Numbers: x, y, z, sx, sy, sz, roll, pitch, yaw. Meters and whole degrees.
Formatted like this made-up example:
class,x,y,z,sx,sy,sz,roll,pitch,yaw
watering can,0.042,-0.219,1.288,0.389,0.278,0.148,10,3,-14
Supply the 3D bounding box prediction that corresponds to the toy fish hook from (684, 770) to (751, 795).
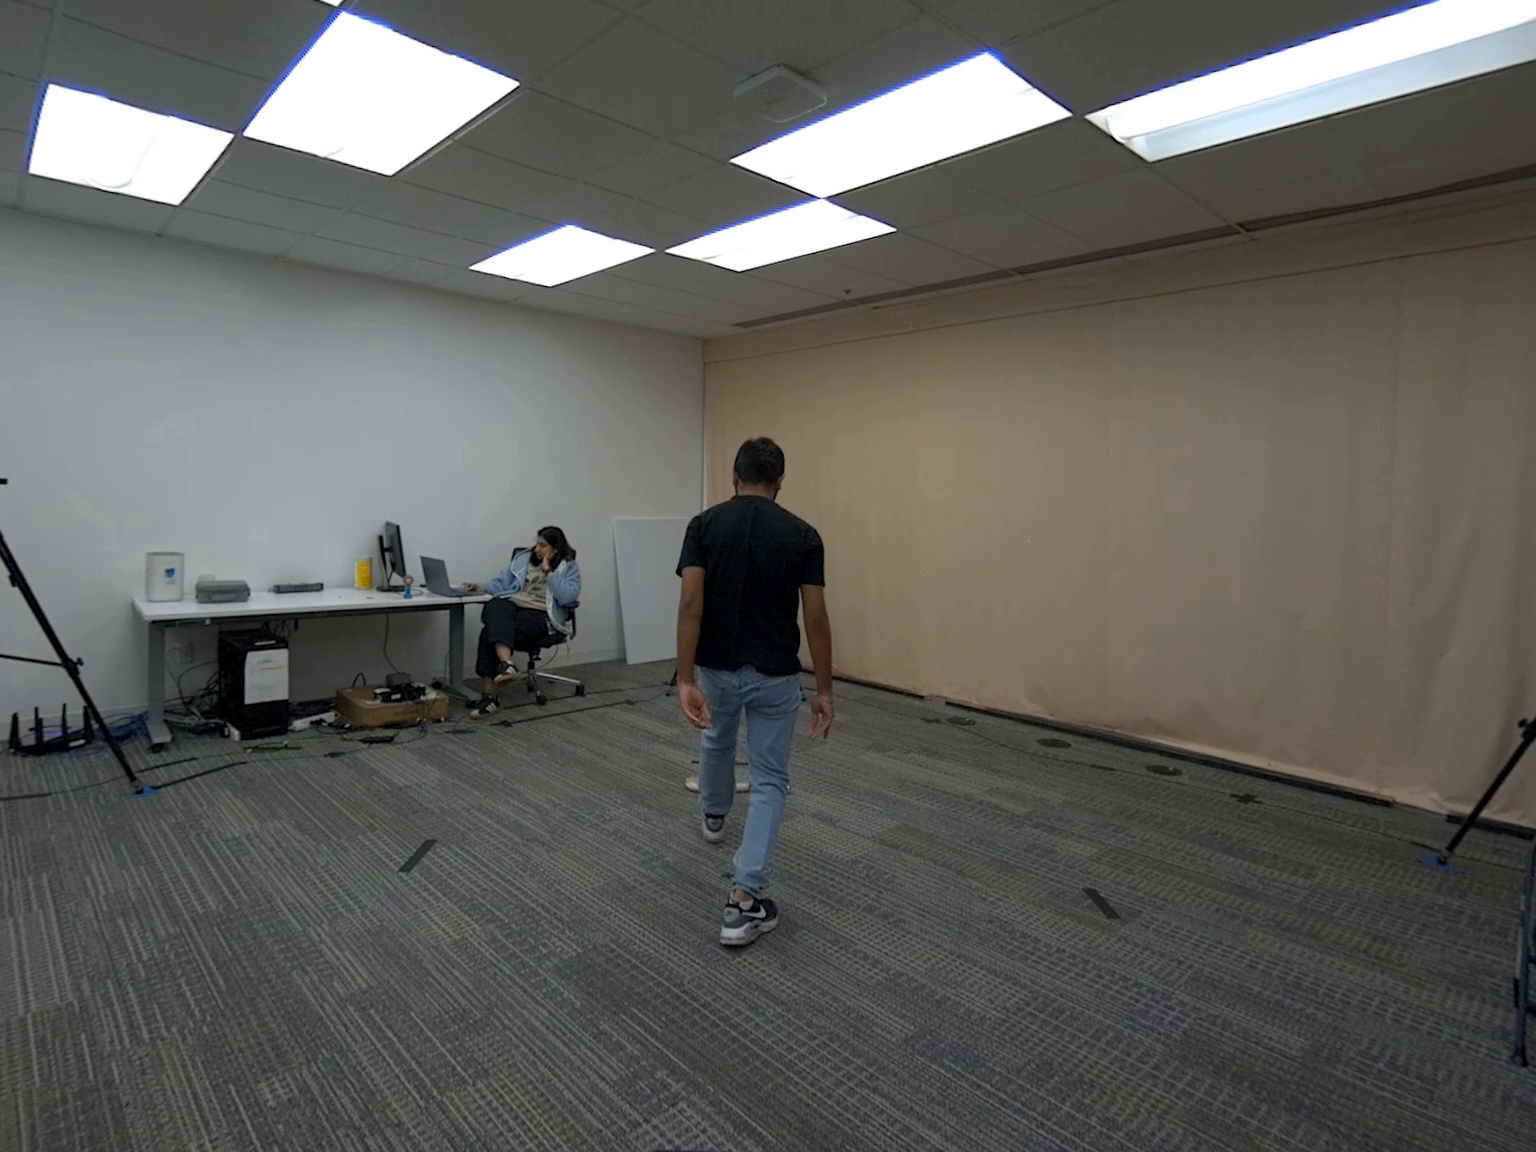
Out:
class,x,y,z,sx,sy,sz,roll,pitch,yaw
toy fish hook,-0.153,1.003,4.068,0.507,0.048,0.225,2,6,2
